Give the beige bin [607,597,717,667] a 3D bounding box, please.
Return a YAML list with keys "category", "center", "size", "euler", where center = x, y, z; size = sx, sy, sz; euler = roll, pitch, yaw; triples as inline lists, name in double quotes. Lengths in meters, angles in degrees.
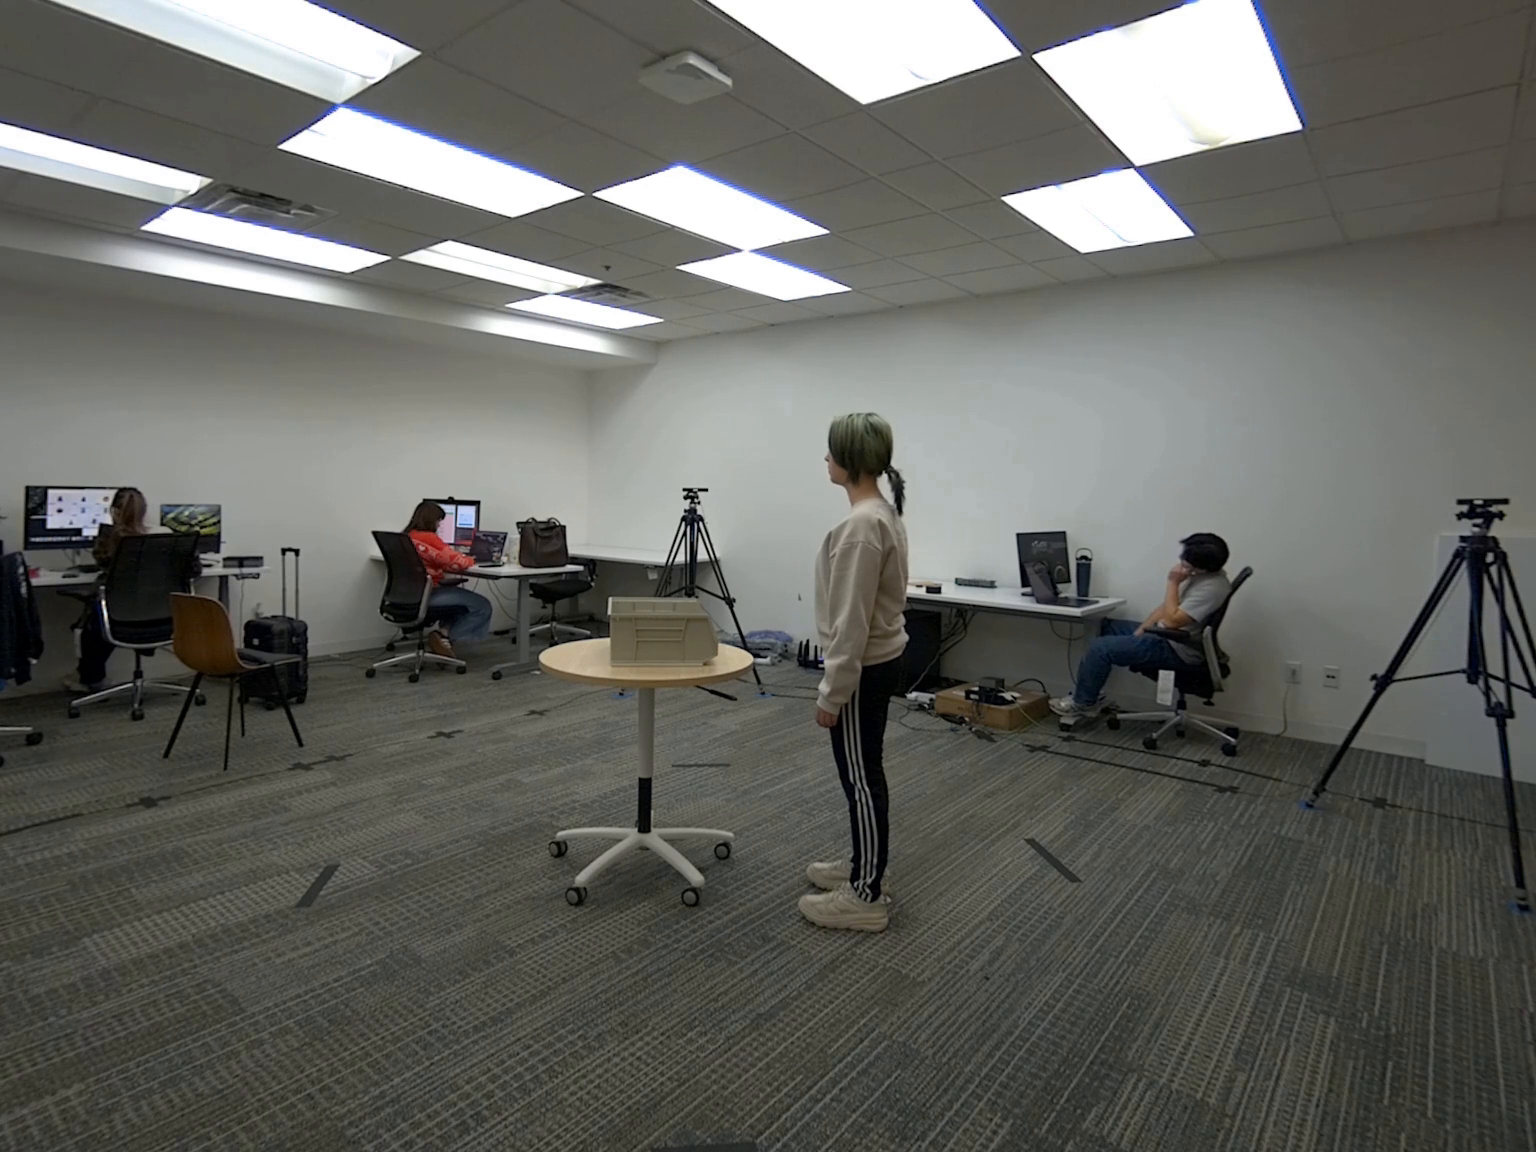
- category: "beige bin"
  center: [-0.389, 0.208, 3.081]
  size: [0.374, 0.188, 0.428]
  euler: [3, 5, -10]
